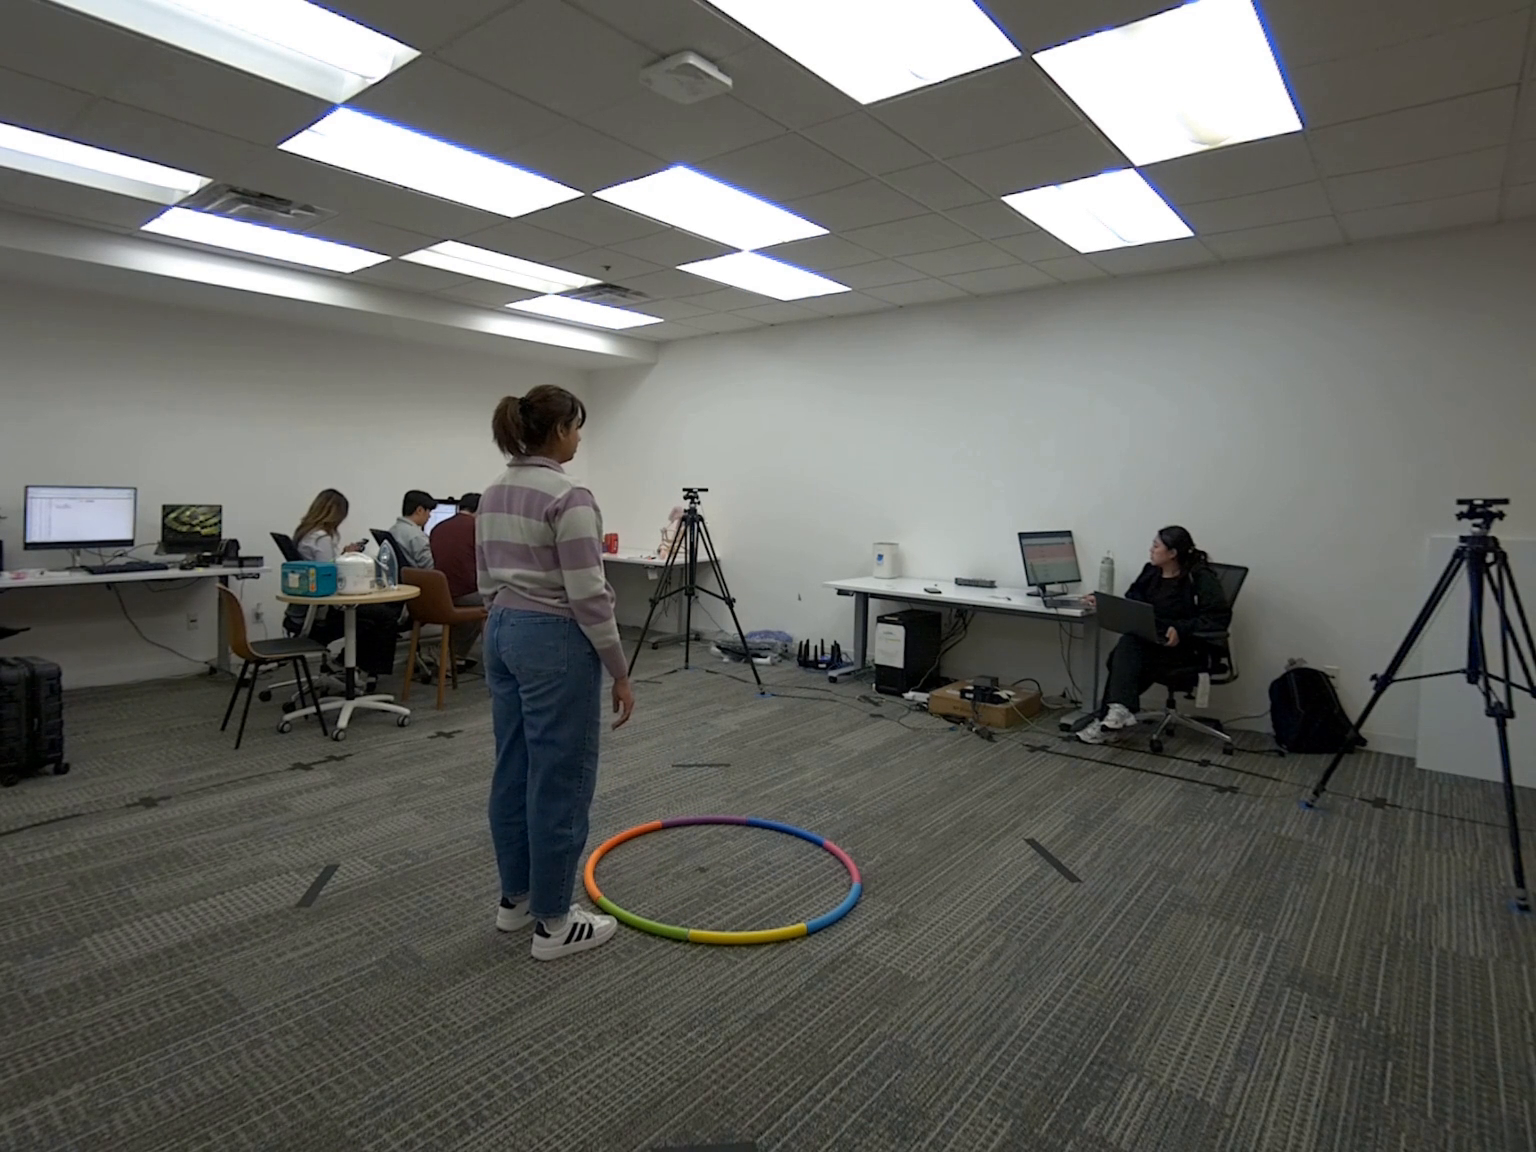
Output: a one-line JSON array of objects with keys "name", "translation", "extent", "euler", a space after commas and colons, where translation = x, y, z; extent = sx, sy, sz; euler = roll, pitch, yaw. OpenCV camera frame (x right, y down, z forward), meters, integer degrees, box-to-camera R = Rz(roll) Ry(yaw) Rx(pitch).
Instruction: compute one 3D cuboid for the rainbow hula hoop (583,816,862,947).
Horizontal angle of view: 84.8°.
[{"name": "rainbow hula hoop", "translation": [-0.171, 1.047, 3.059], "extent": [0.984, 0.051, 0.991], "euler": [0, 6, -2]}]
